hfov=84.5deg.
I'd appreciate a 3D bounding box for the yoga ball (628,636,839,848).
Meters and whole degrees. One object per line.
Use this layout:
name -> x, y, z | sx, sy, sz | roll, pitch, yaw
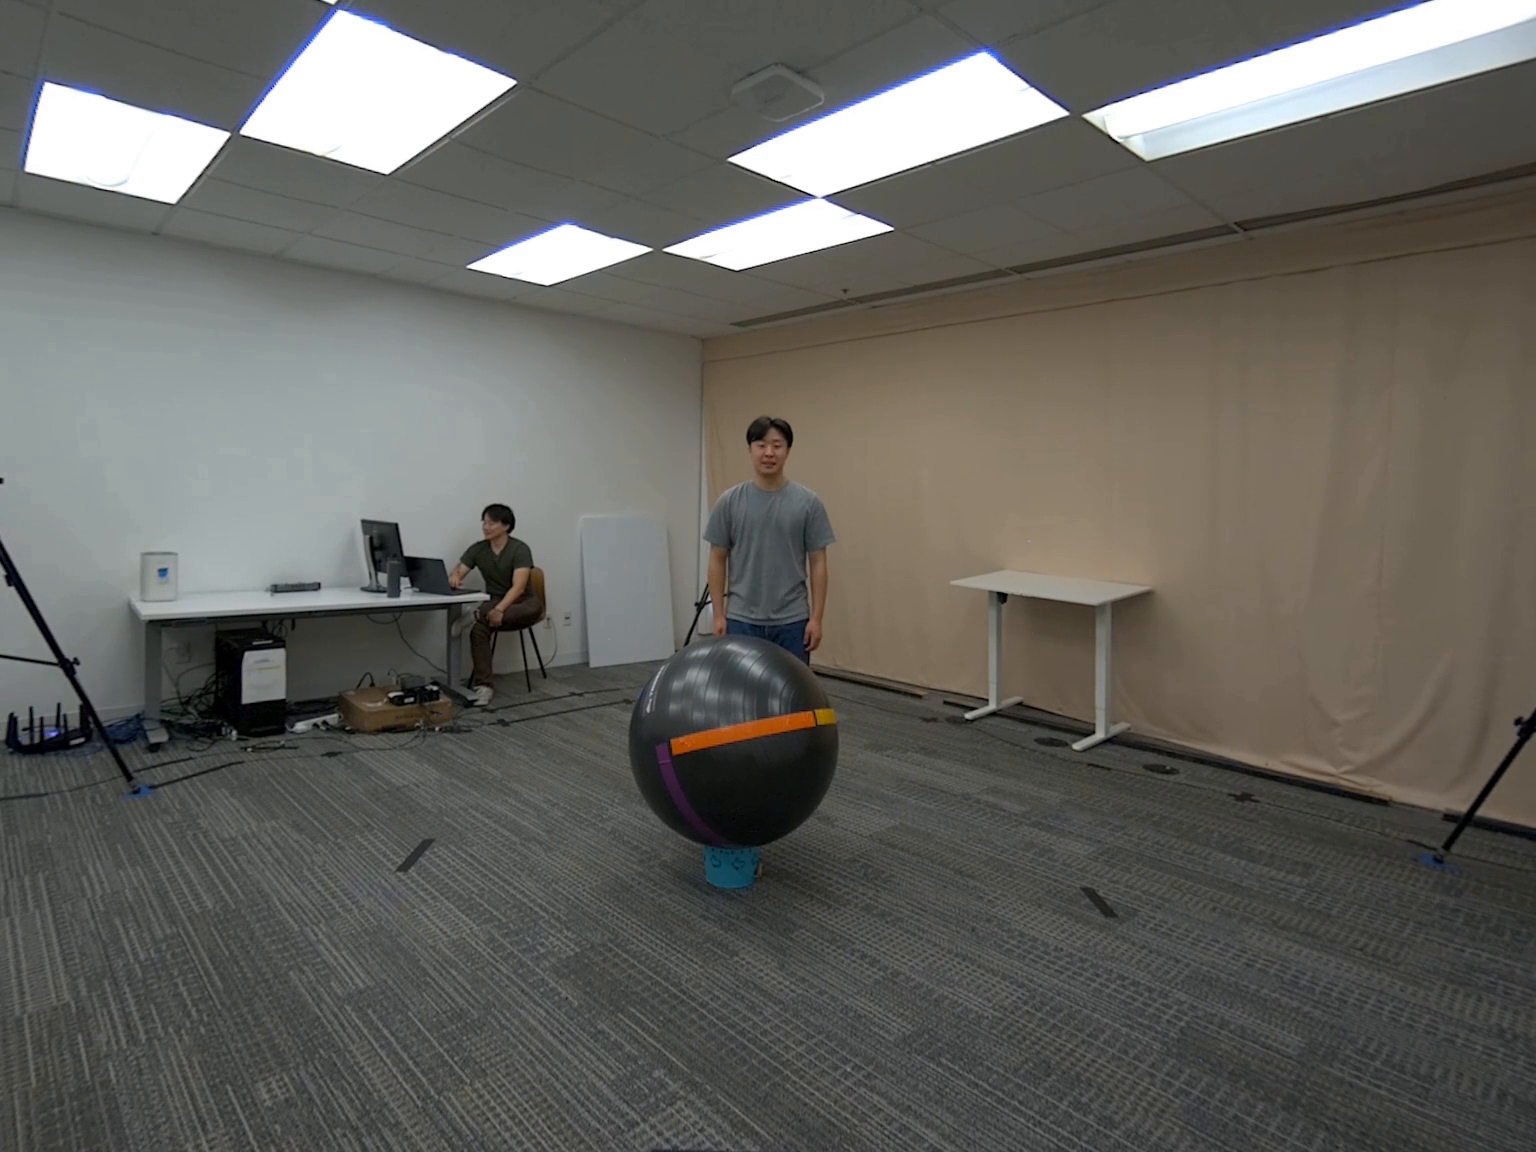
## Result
yoga ball -> -0.134, 0.601, 3.059 | 0.757, 0.756, 0.761 | 1, 4, -1
